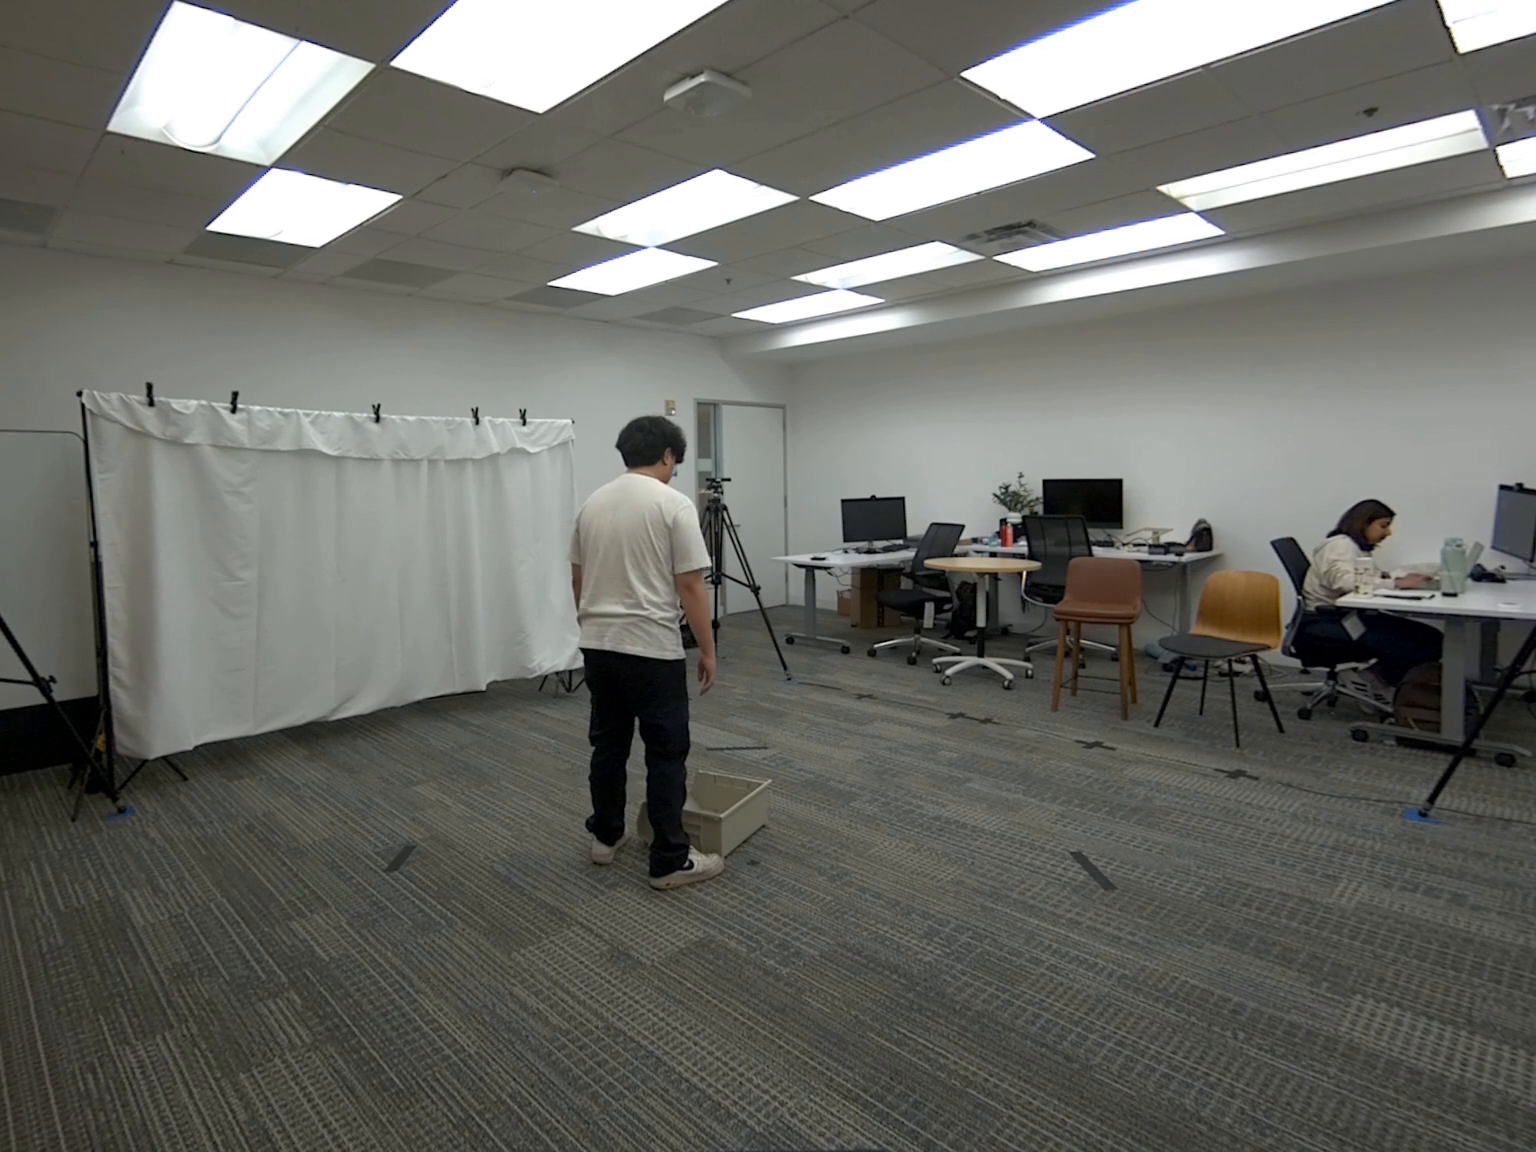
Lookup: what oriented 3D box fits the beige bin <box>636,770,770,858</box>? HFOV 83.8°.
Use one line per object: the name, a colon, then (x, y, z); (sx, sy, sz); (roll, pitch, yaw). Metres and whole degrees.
beige bin: (-0.245, 0.926, 3.355); (0.387, 0.188, 0.414); (3, 6, 27)
